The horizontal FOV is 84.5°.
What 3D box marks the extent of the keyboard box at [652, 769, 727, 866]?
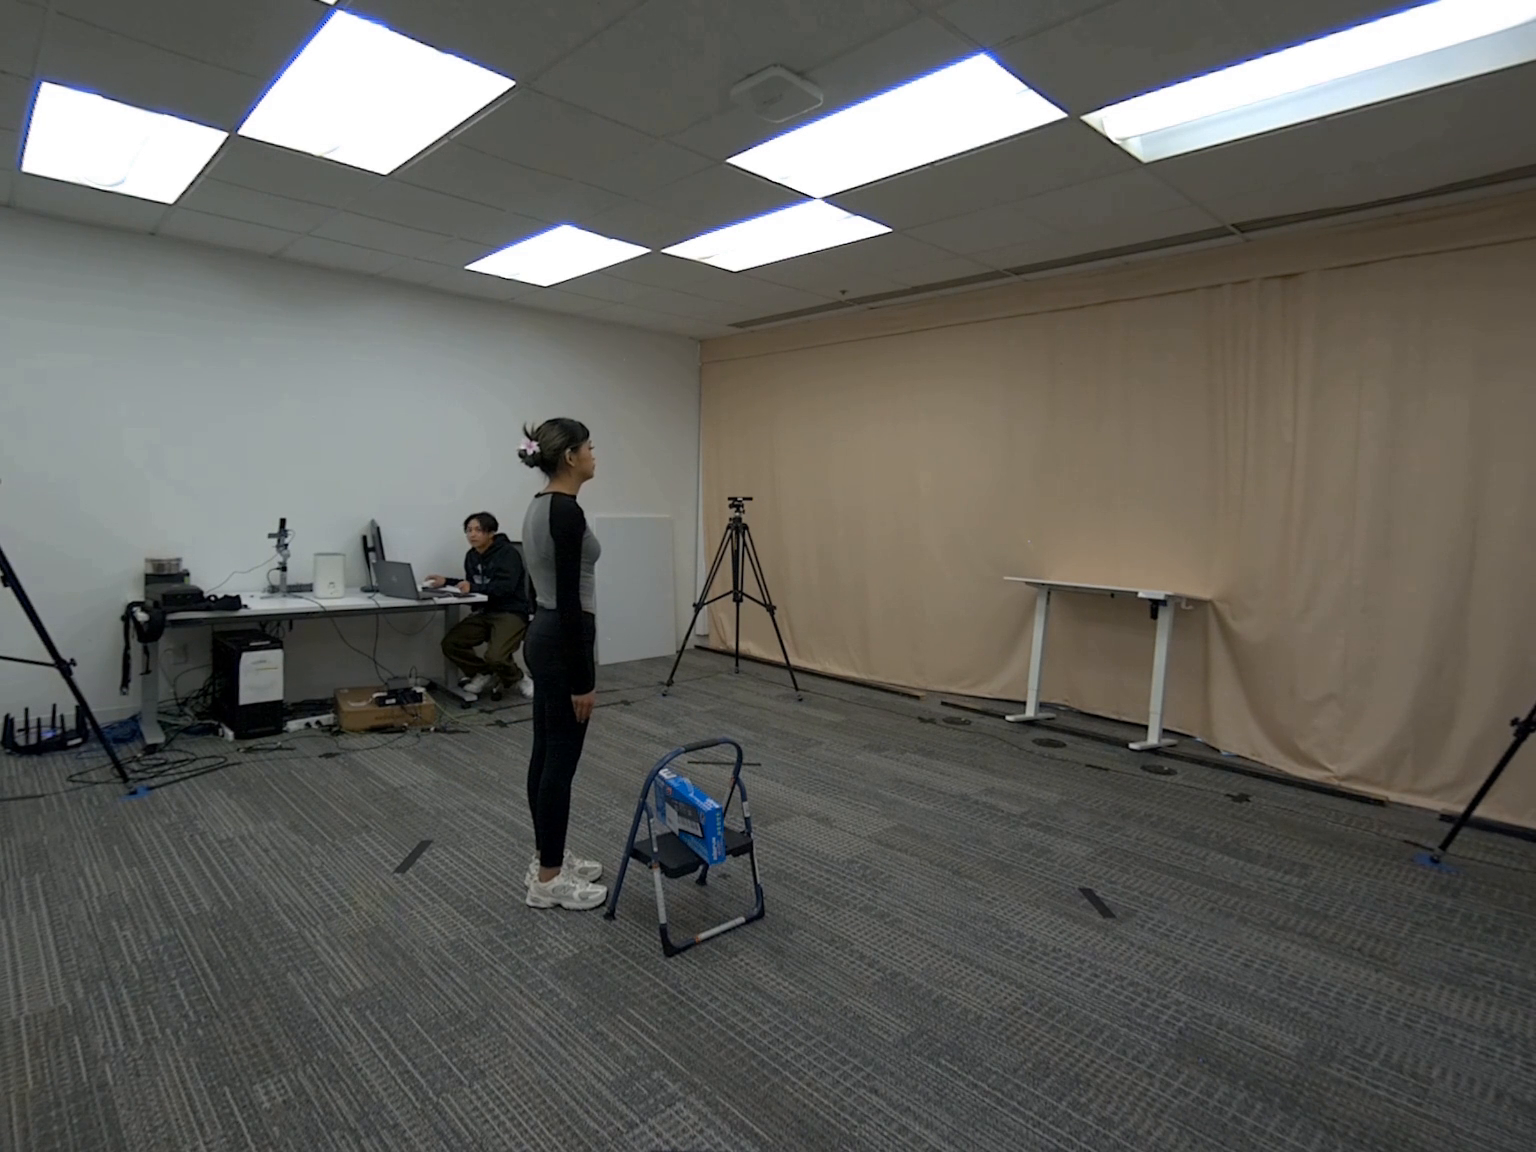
[{"bbox_3d":[-0.271,0.786,2.770,0.058,0.175,0.446,-7,7,-27],"label":"keyboard box"}]
